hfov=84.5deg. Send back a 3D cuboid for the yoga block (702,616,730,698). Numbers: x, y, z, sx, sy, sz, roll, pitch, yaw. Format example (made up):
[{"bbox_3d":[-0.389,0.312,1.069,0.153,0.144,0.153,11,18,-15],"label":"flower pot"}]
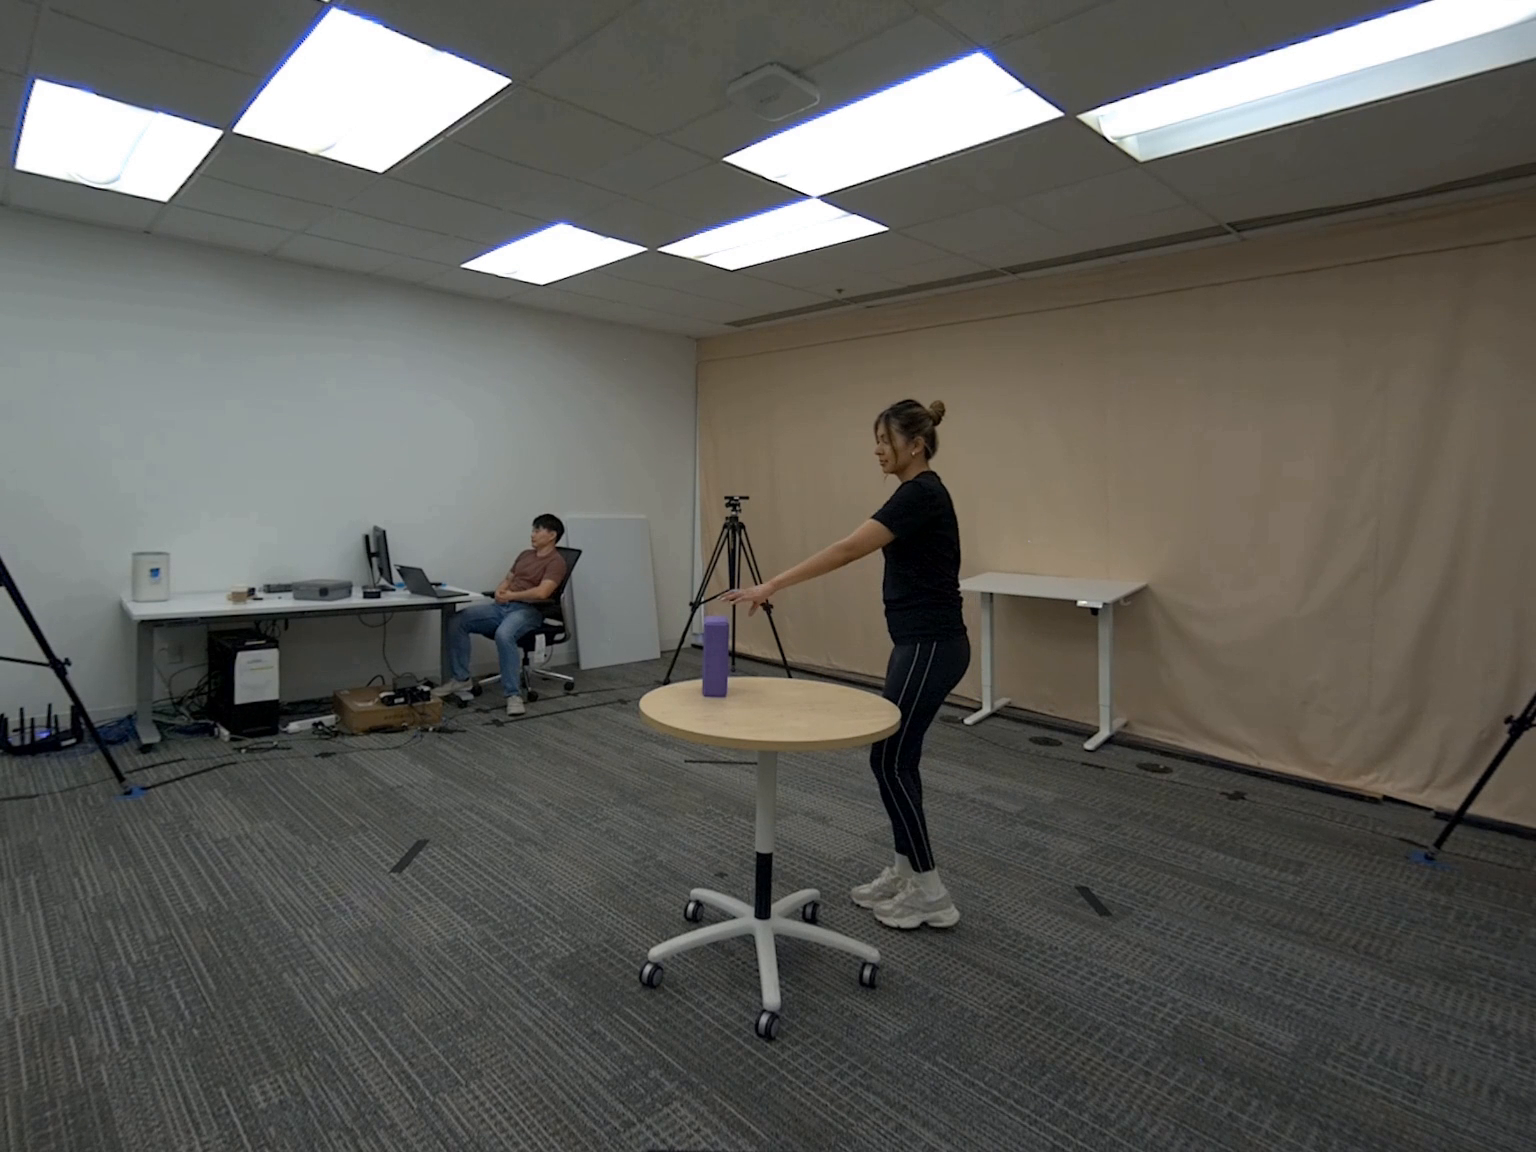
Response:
[{"bbox_3d":[-0.160,0.250,2.620,0.077,0.230,0.148,2,-3,3],"label":"yoga block"}]
